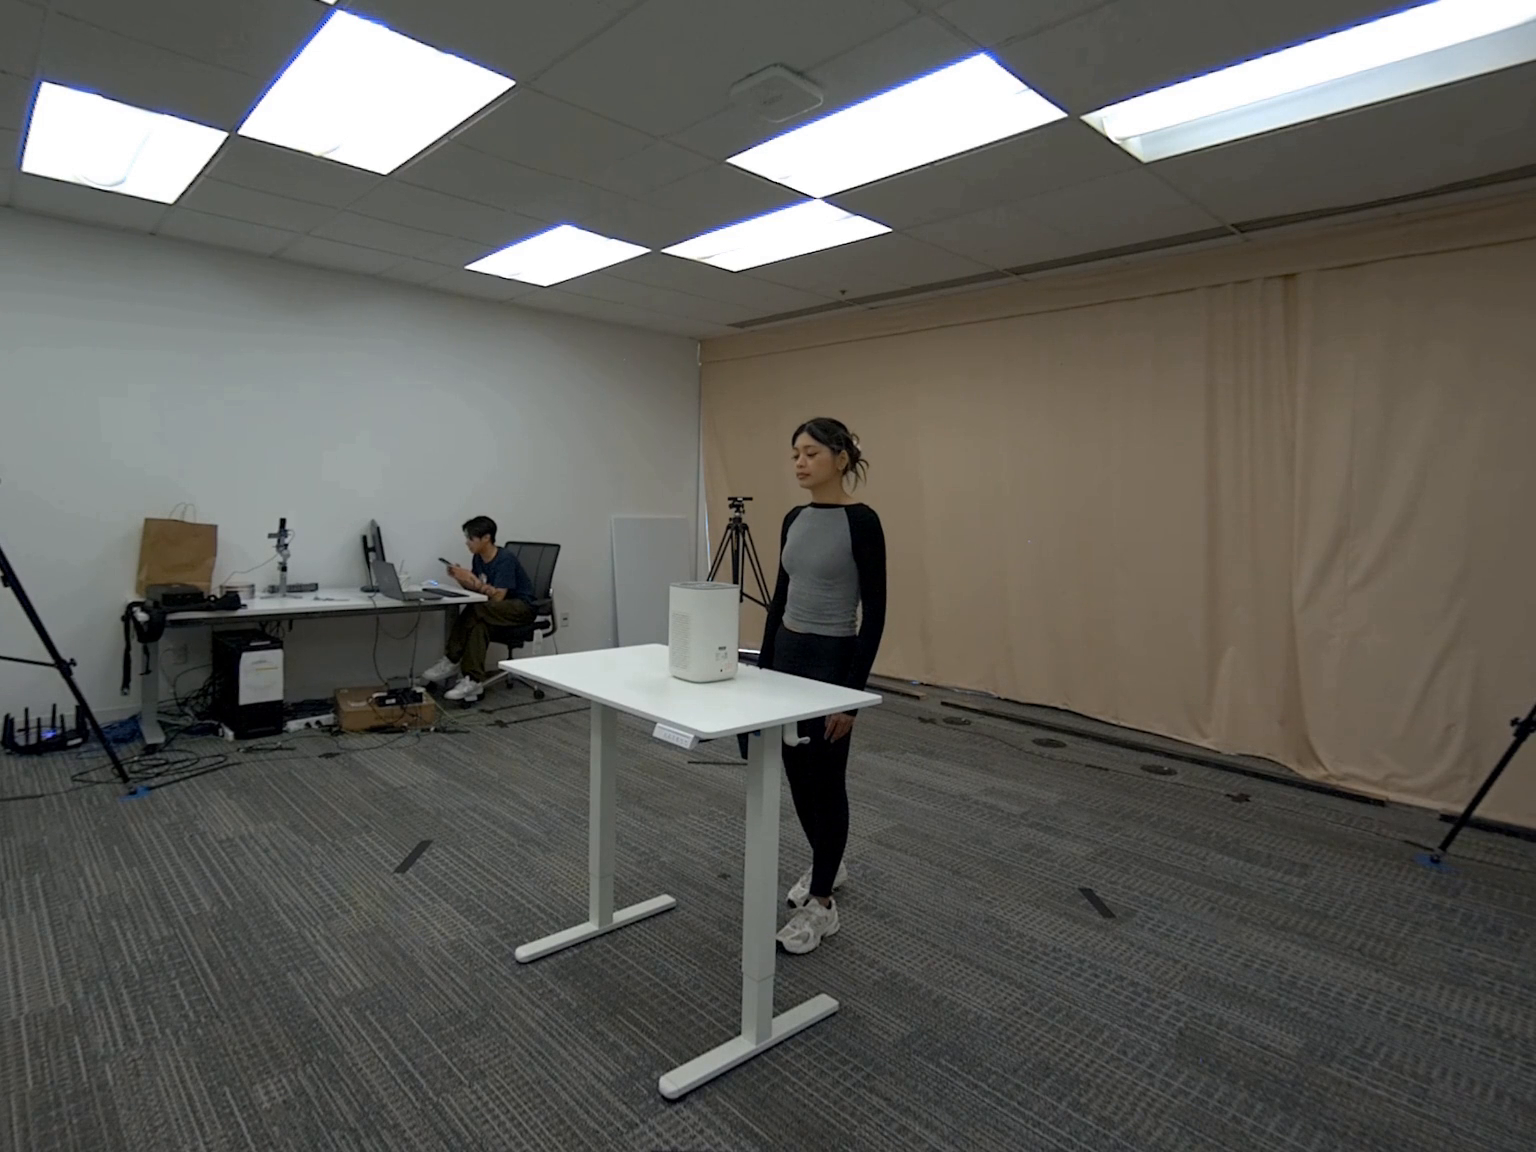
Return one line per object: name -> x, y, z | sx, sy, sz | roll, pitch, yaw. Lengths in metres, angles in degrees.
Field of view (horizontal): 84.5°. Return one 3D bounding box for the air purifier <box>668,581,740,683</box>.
air purifier -> -0.189, 0.158, 2.378 | 0.167, 0.265, 0.176 | -2, 4, -42
